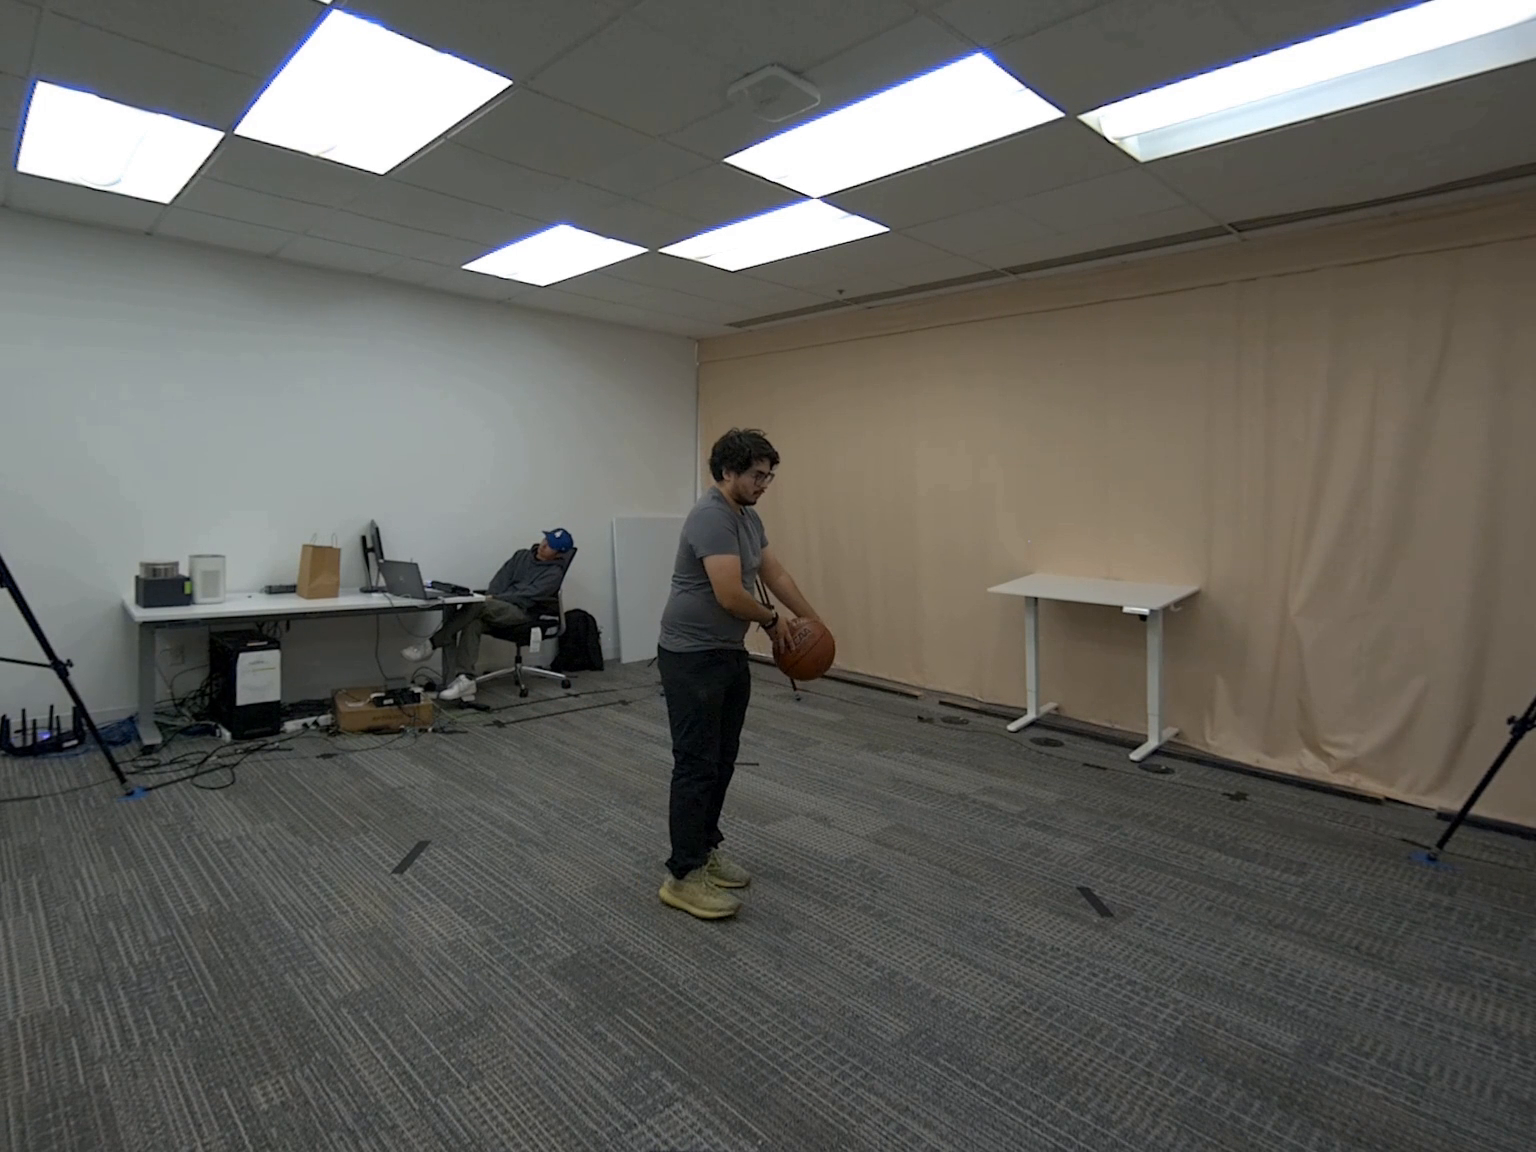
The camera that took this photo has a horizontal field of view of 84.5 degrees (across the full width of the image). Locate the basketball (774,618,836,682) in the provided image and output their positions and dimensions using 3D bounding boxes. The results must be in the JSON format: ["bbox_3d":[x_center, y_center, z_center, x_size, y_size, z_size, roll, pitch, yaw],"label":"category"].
[{"bbox_3d":[0.130,0.279,3.173,0.236,0.235,0.237,1,4,-1],"label":"basketball"}]
